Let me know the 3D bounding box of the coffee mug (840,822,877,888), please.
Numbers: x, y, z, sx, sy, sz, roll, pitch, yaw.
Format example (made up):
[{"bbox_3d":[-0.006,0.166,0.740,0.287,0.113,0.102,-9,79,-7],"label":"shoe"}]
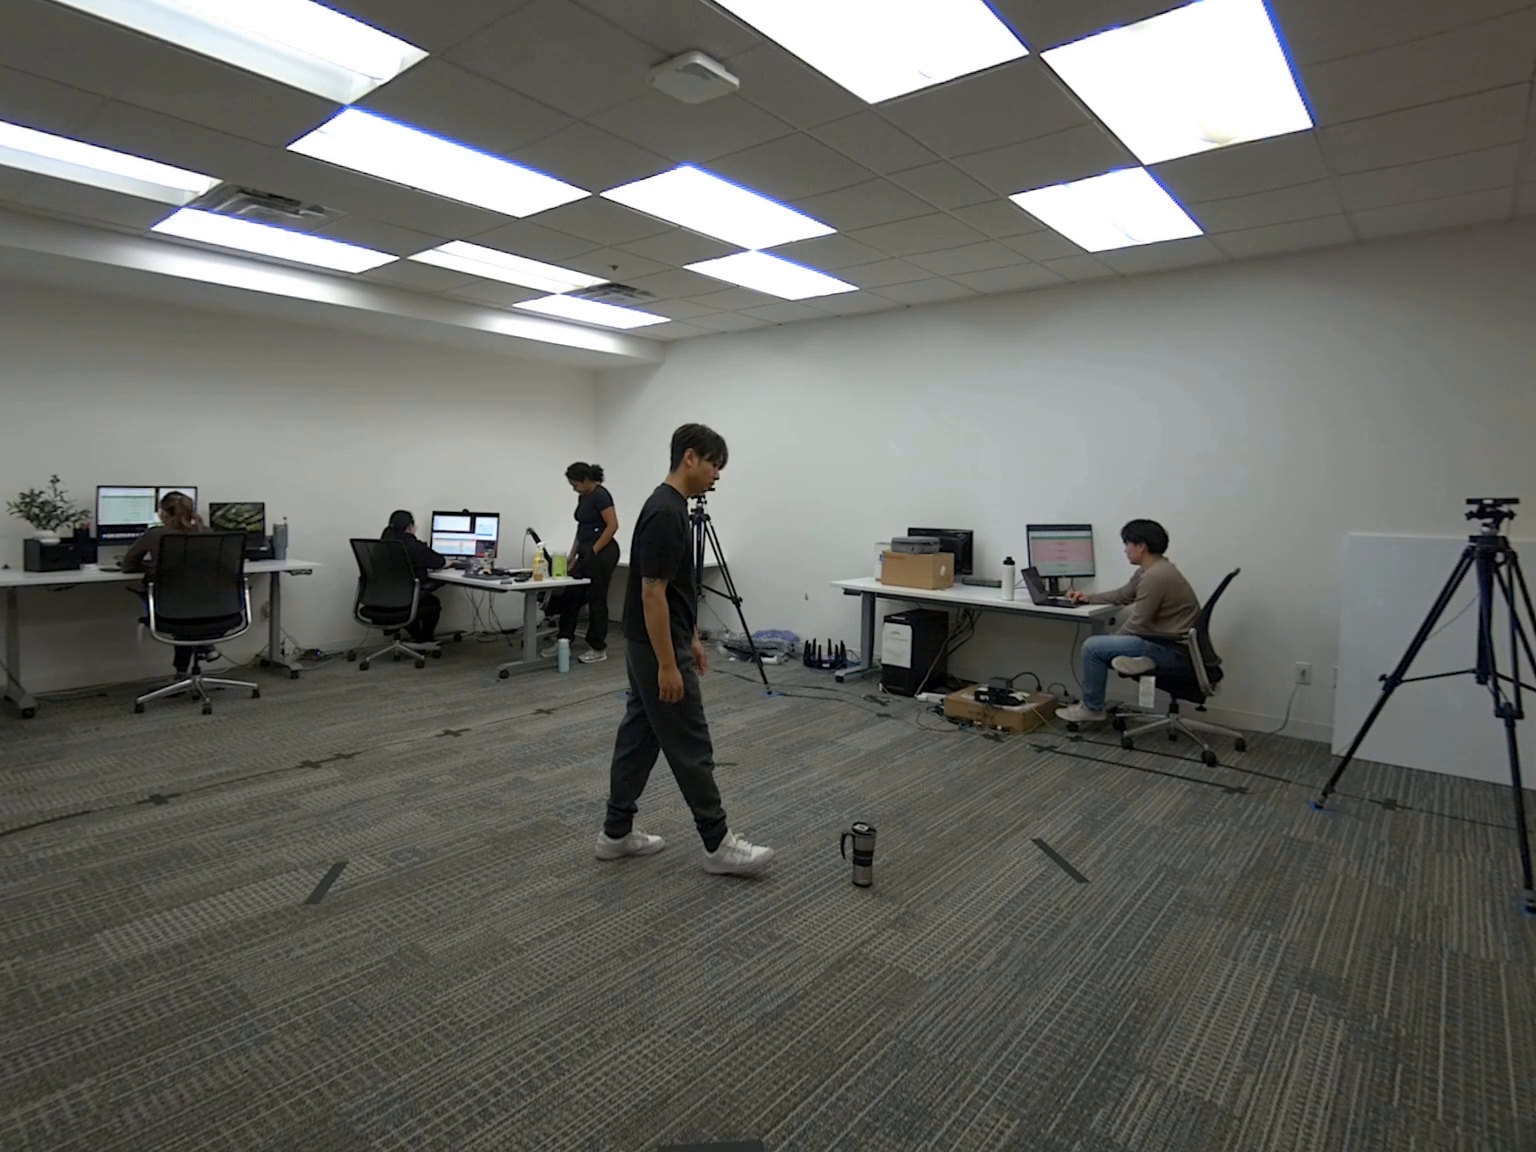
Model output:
[{"bbox_3d":[0.319,0.988,3.033,0.126,0.201,0.085,11,11,39],"label":"coffee mug"}]
